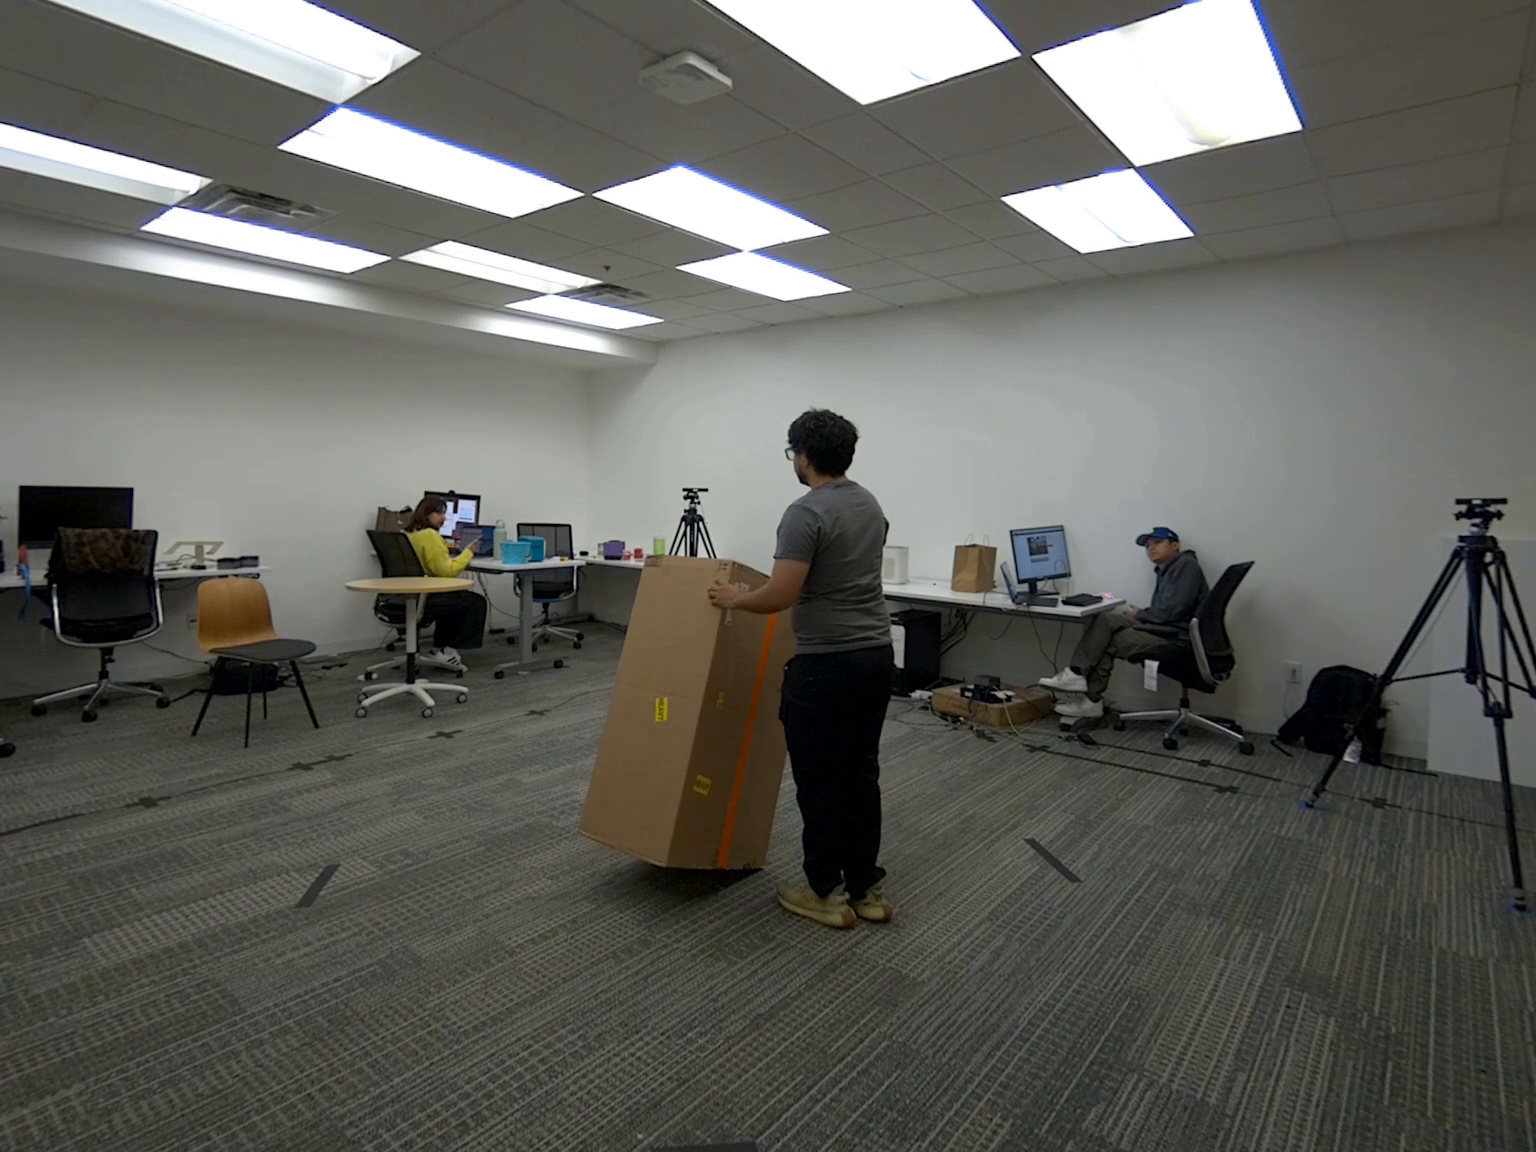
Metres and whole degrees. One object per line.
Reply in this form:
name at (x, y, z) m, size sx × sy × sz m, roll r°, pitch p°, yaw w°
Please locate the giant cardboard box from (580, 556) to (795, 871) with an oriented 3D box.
giant cardboard box at (-0.245, 0.496, 3.154) m, size 0.440 × 1.034 × 0.554 m, roll 3°, pitch -15°, yaw 38°
